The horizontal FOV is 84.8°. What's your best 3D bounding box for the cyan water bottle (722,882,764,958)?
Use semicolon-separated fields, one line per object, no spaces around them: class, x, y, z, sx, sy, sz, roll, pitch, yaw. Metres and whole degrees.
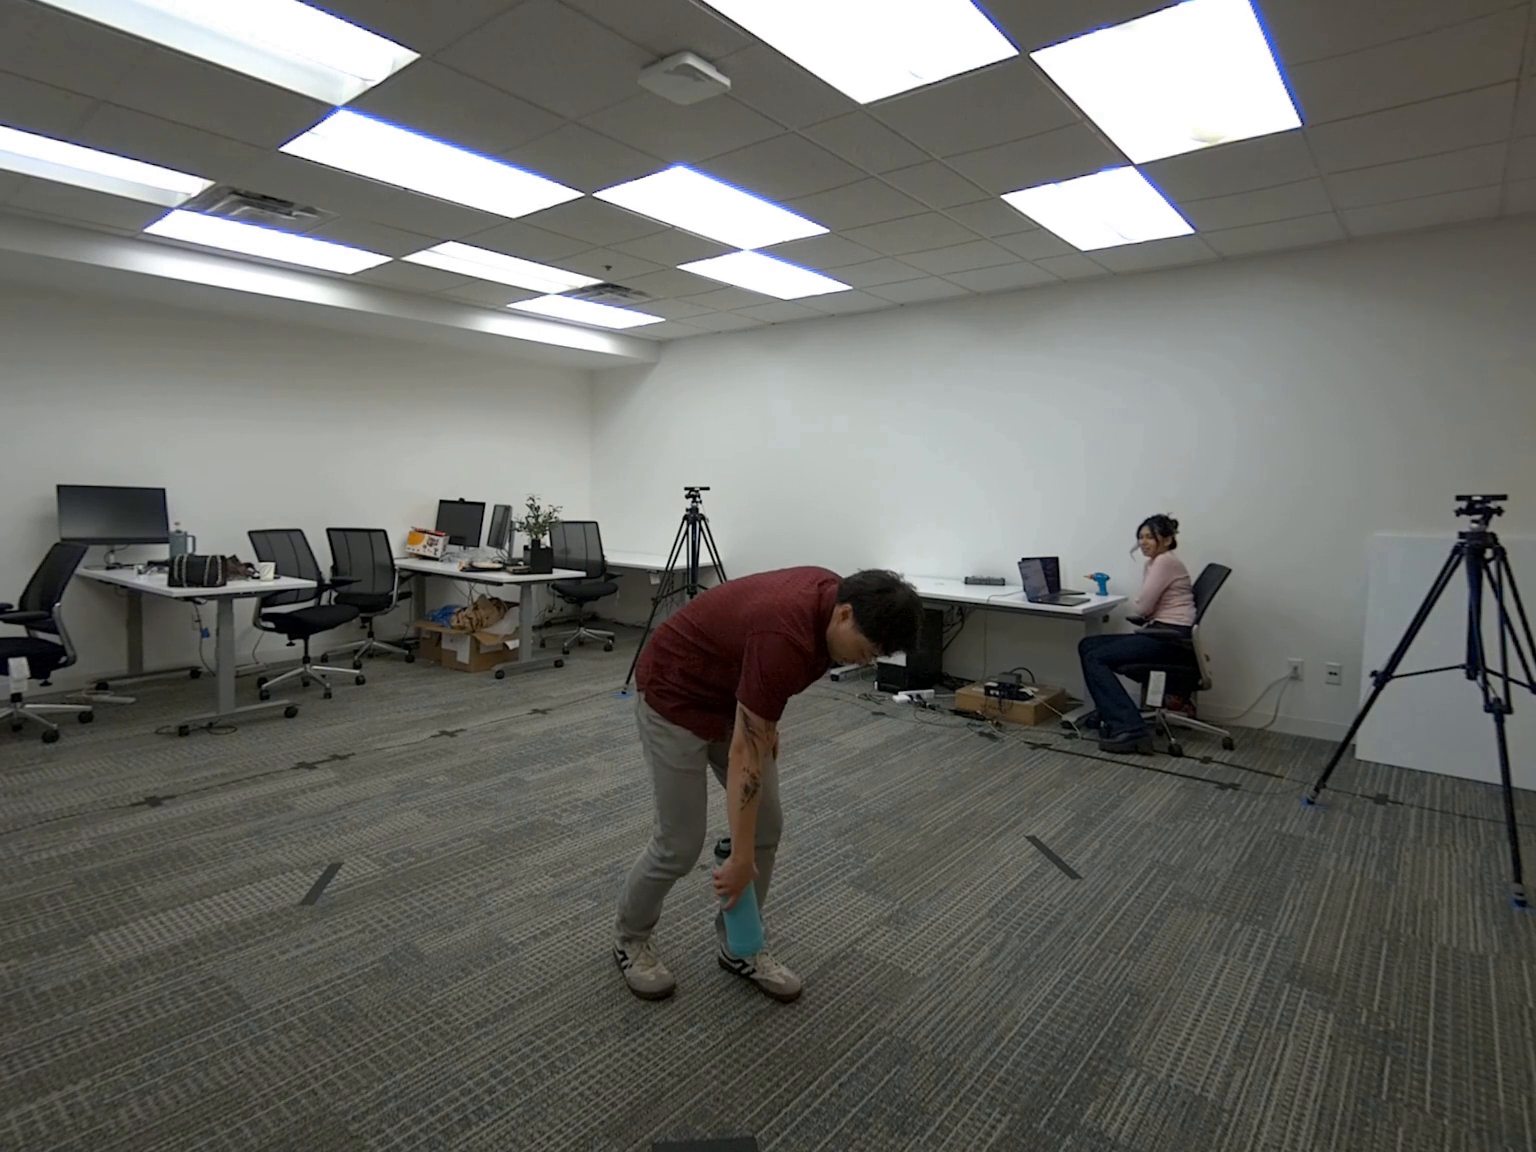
cyan water bottle;-0.079;0.799;2.146;0.092;0.283;0.092;-10;2;-1
